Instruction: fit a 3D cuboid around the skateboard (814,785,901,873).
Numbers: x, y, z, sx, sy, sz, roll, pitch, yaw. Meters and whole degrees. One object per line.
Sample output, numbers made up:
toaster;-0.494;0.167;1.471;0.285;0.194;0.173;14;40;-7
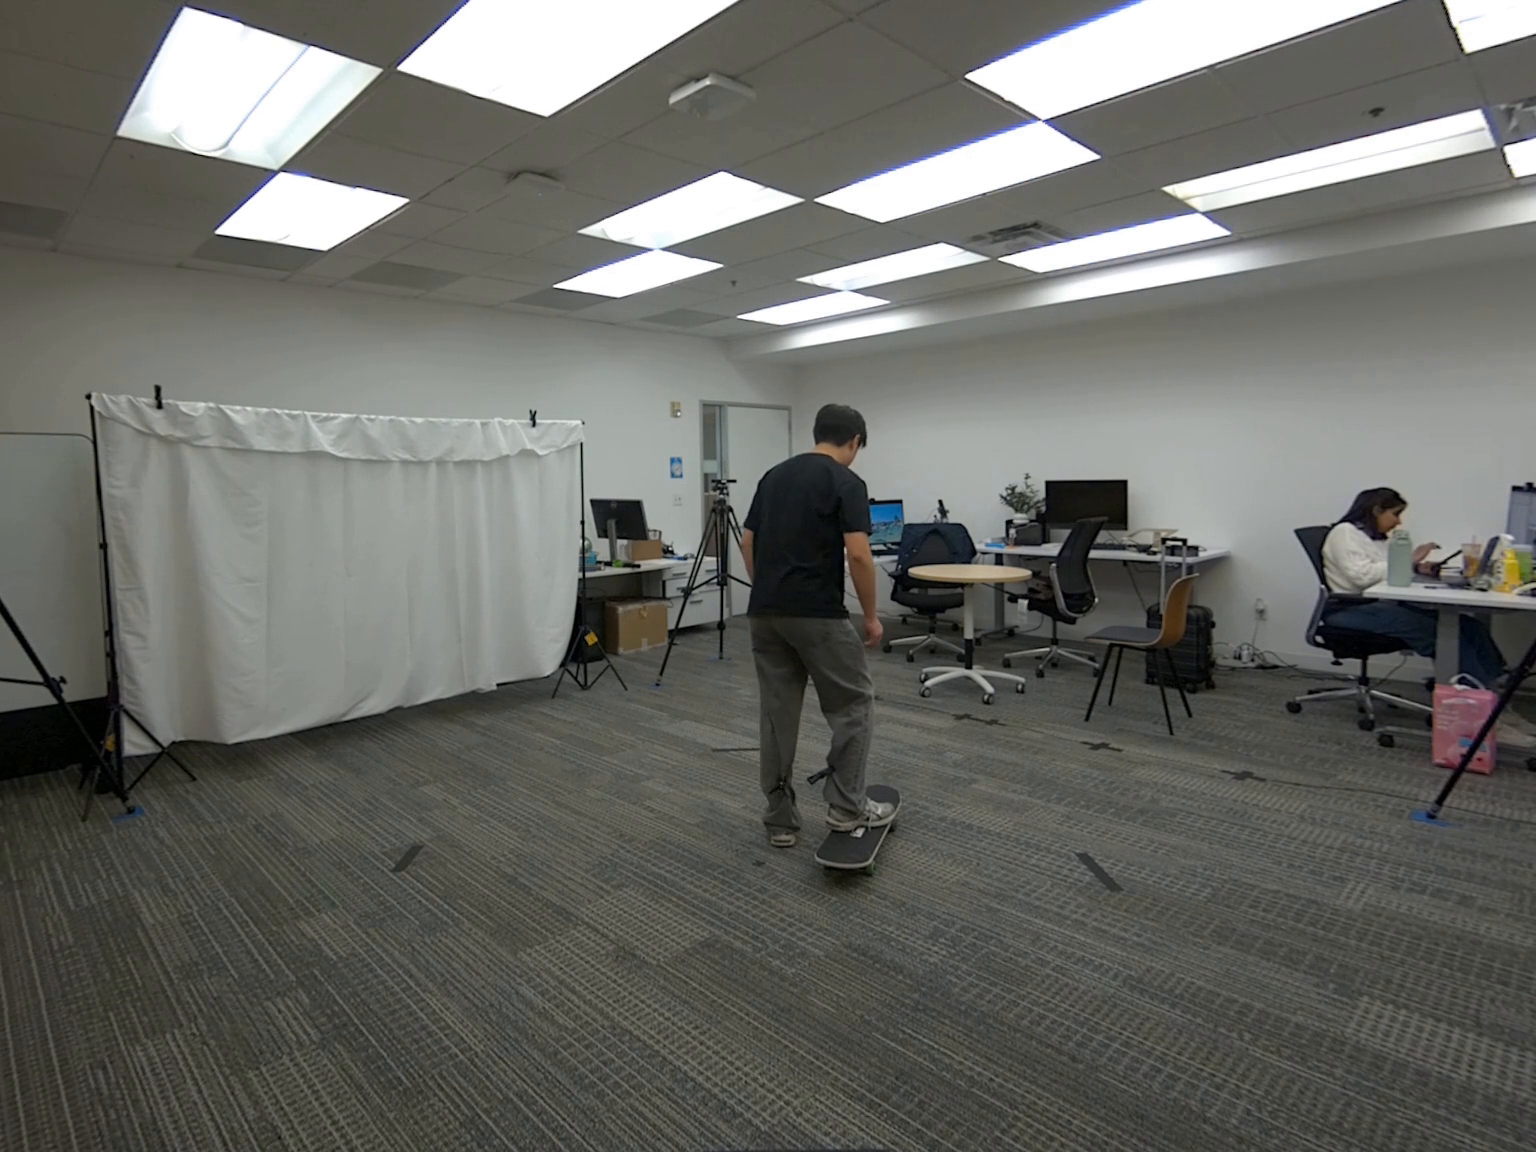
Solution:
skateboard;0.359;0.971;3.227;0.197;0.110;0.776;1;7;17
